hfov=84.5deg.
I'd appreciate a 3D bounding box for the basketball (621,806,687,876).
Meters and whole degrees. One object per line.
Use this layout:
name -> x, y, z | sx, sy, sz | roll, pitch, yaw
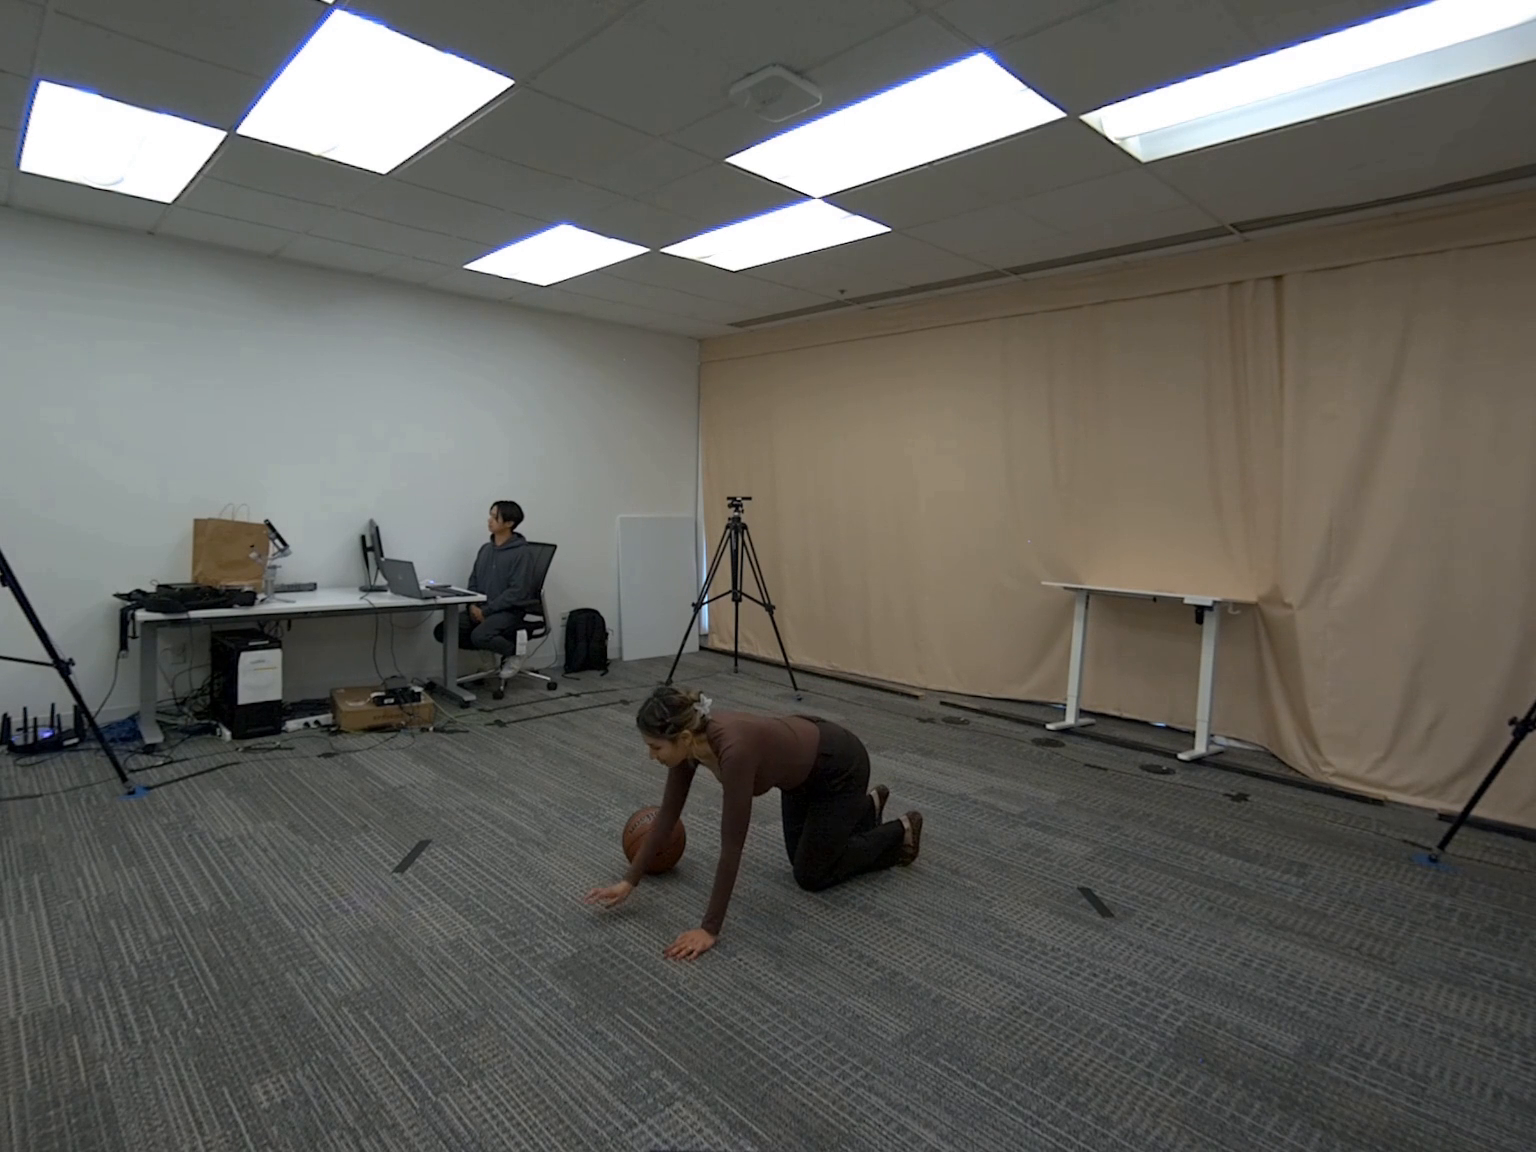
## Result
basketball -> -0.425, 0.973, 3.128 | 0.236, 0.235, 0.237 | 1, 4, -1
